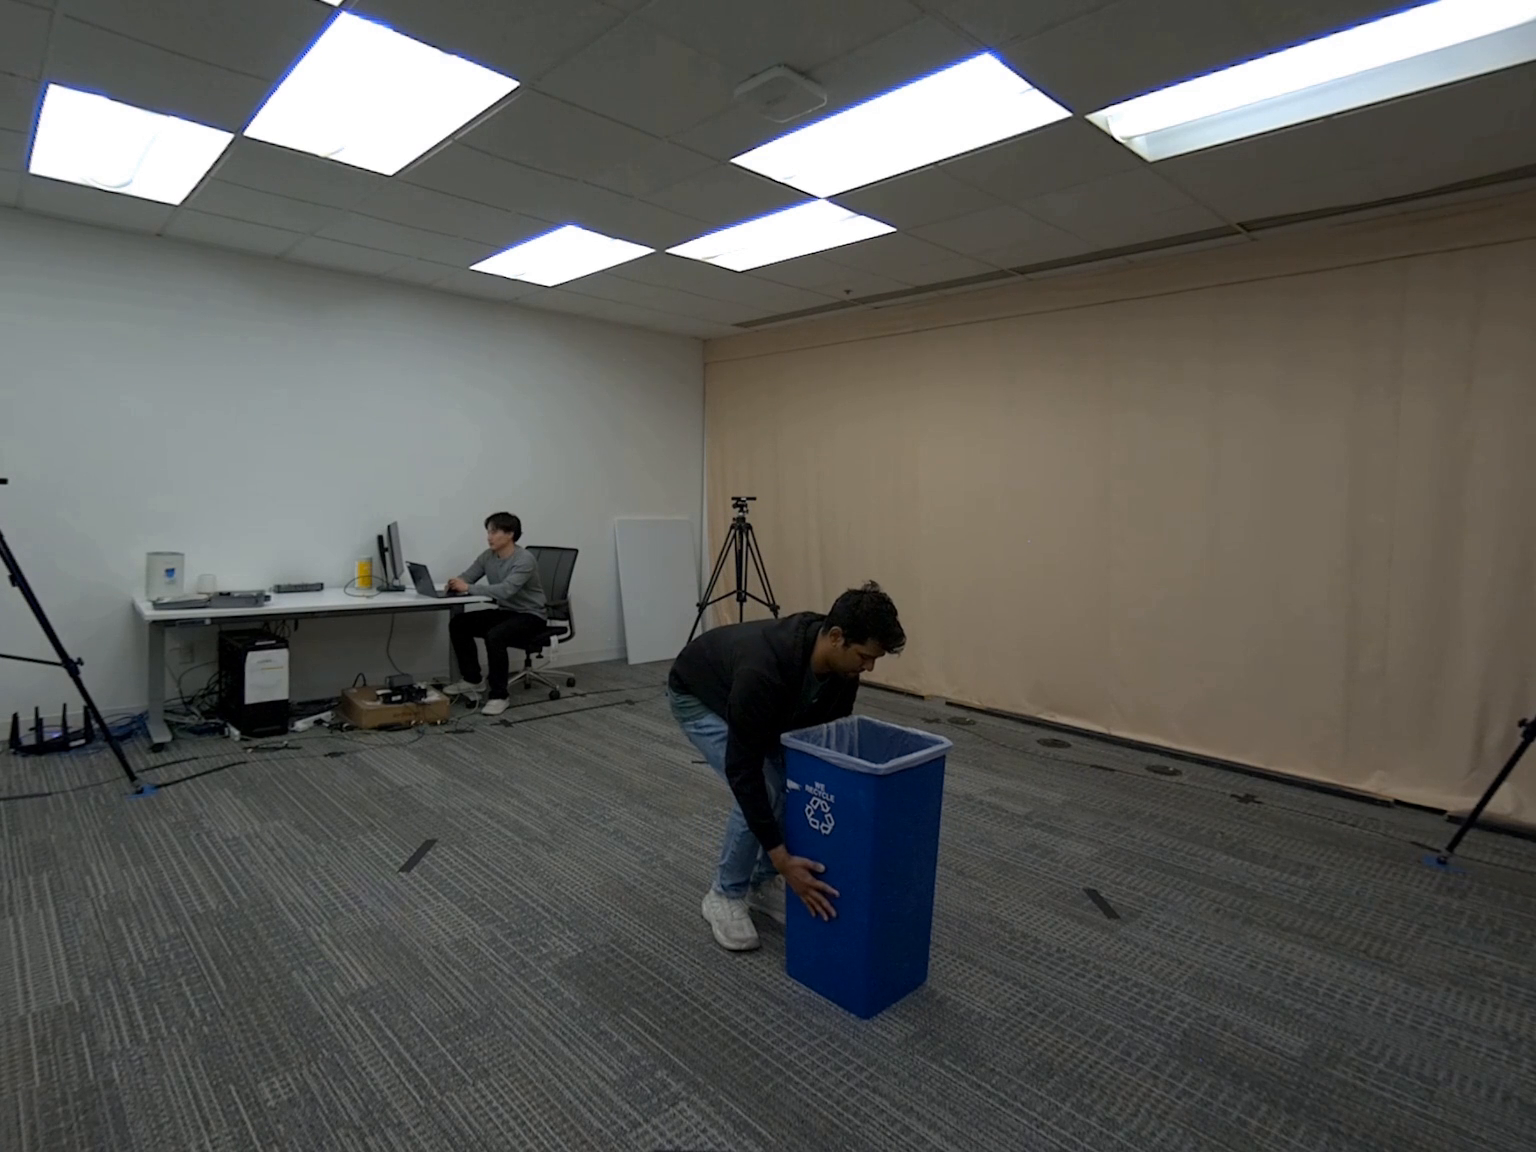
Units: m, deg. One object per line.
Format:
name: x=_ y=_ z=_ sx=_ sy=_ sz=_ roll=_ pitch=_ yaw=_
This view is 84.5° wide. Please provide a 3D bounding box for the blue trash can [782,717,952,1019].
blue trash can: x=0.273 y=0.823 z=2.436 sx=0.384 sy=0.711 sz=0.369 roll=6 pitch=6 yaw=44
